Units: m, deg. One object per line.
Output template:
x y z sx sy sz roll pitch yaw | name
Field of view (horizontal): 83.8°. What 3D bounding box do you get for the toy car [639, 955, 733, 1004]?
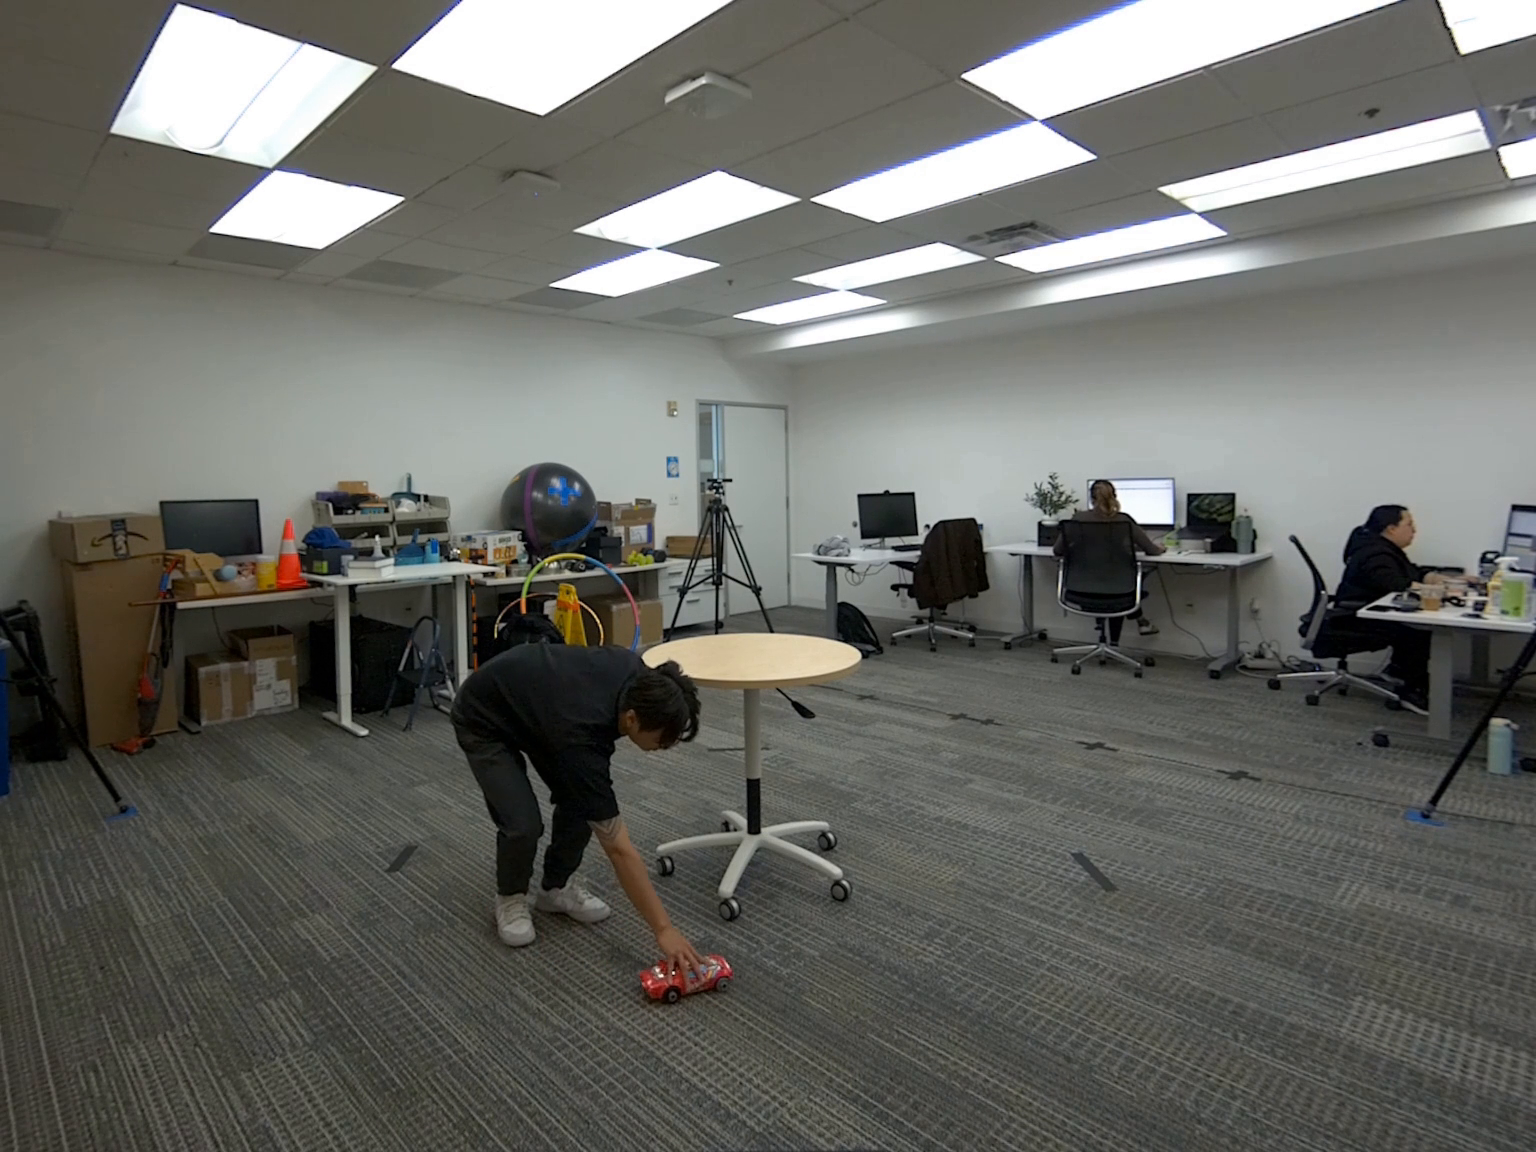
-0.226 1.107 2.345 0.249 0.083 0.133 7 2 -20 | toy car
